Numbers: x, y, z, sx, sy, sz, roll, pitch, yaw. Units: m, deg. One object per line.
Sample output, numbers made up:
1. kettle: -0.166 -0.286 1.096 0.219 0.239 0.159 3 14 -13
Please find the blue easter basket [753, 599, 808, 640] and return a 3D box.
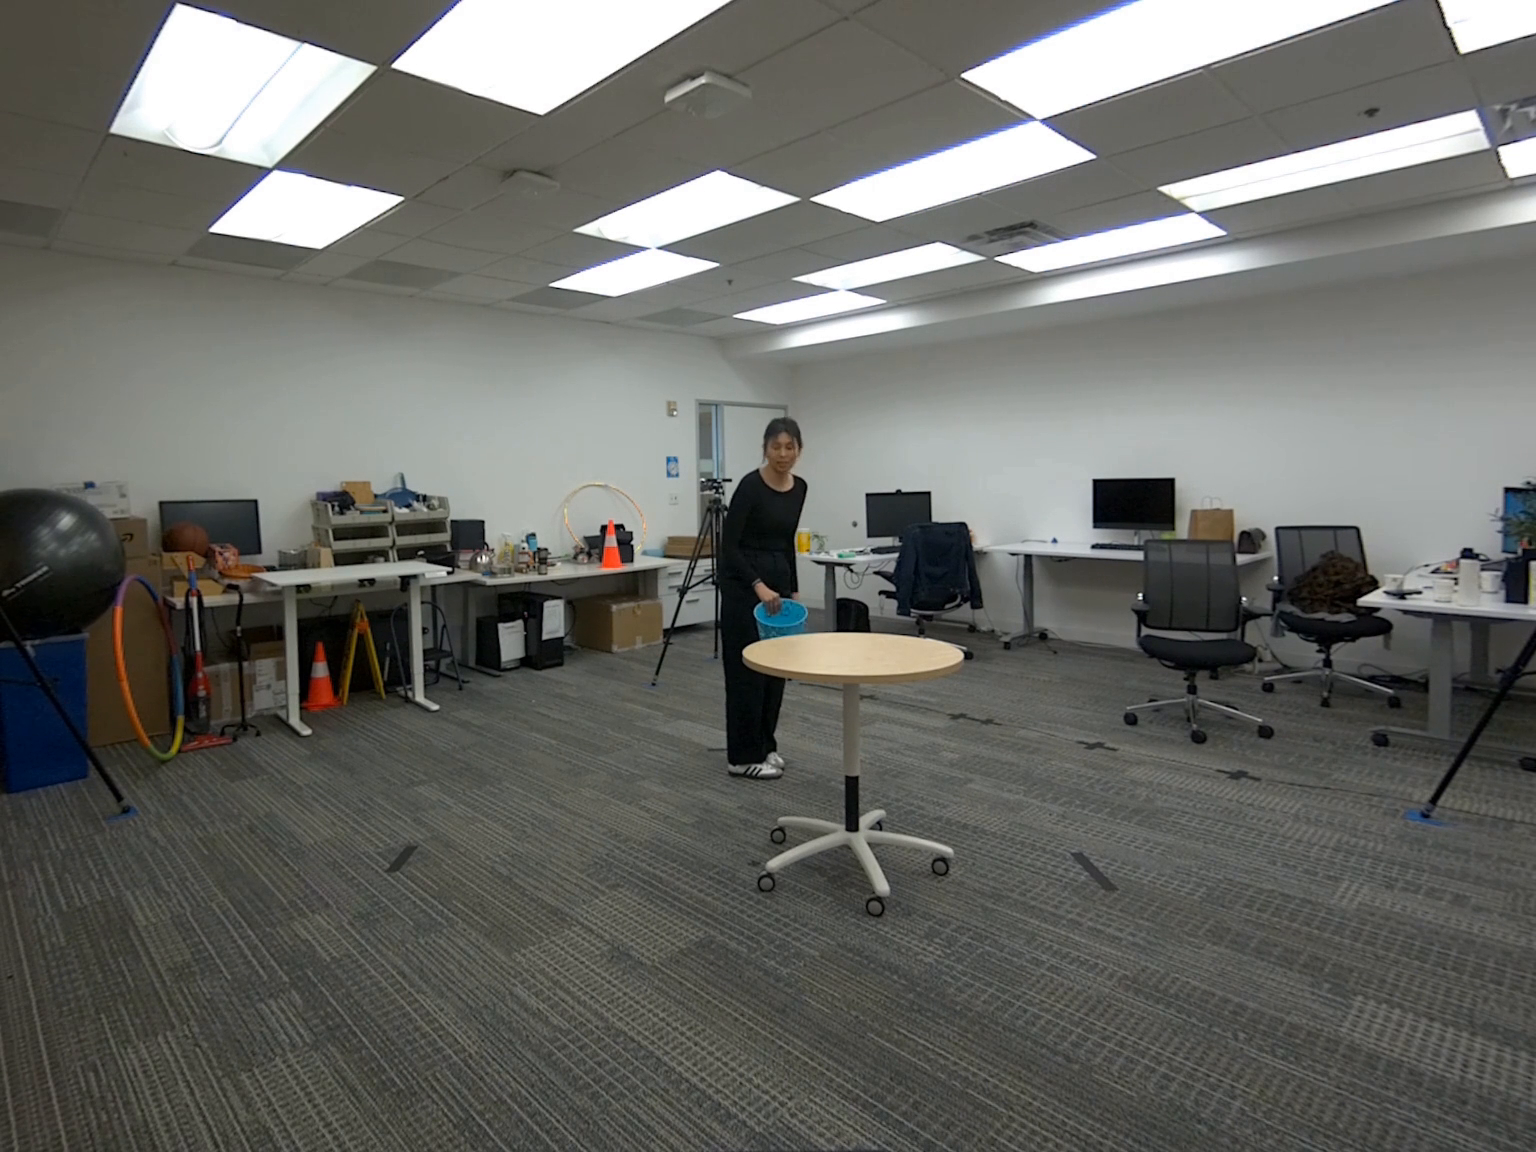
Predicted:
1. blue easter basket: 0.061 0.230 3.737 0.243 0.152 0.249 -2 27 -1
